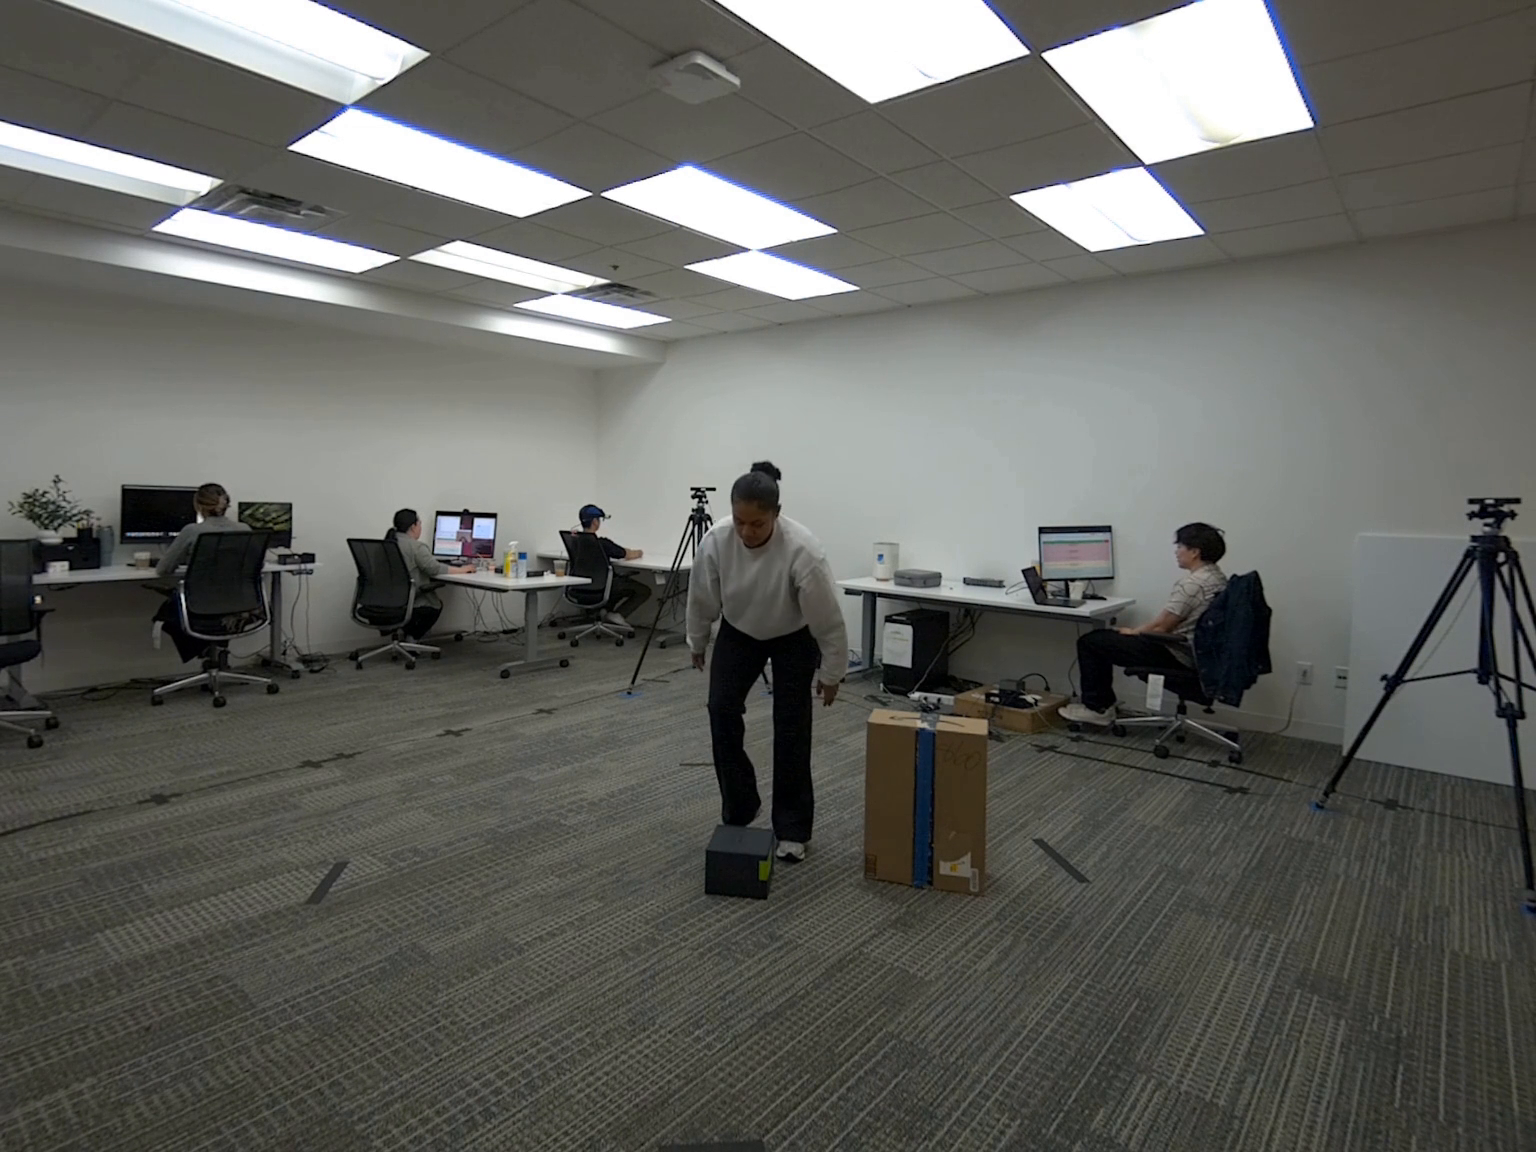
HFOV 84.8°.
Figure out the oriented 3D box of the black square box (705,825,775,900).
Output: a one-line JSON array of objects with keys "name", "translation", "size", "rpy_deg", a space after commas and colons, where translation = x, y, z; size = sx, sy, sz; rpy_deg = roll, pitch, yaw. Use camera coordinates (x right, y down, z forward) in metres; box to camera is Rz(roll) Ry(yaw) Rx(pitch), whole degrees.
[{"name": "black square box", "translation": [-0.108, 0.991, 3.002], "size": [0.219, 0.155, 0.227], "rpy_deg": [0, 5, 7]}]
